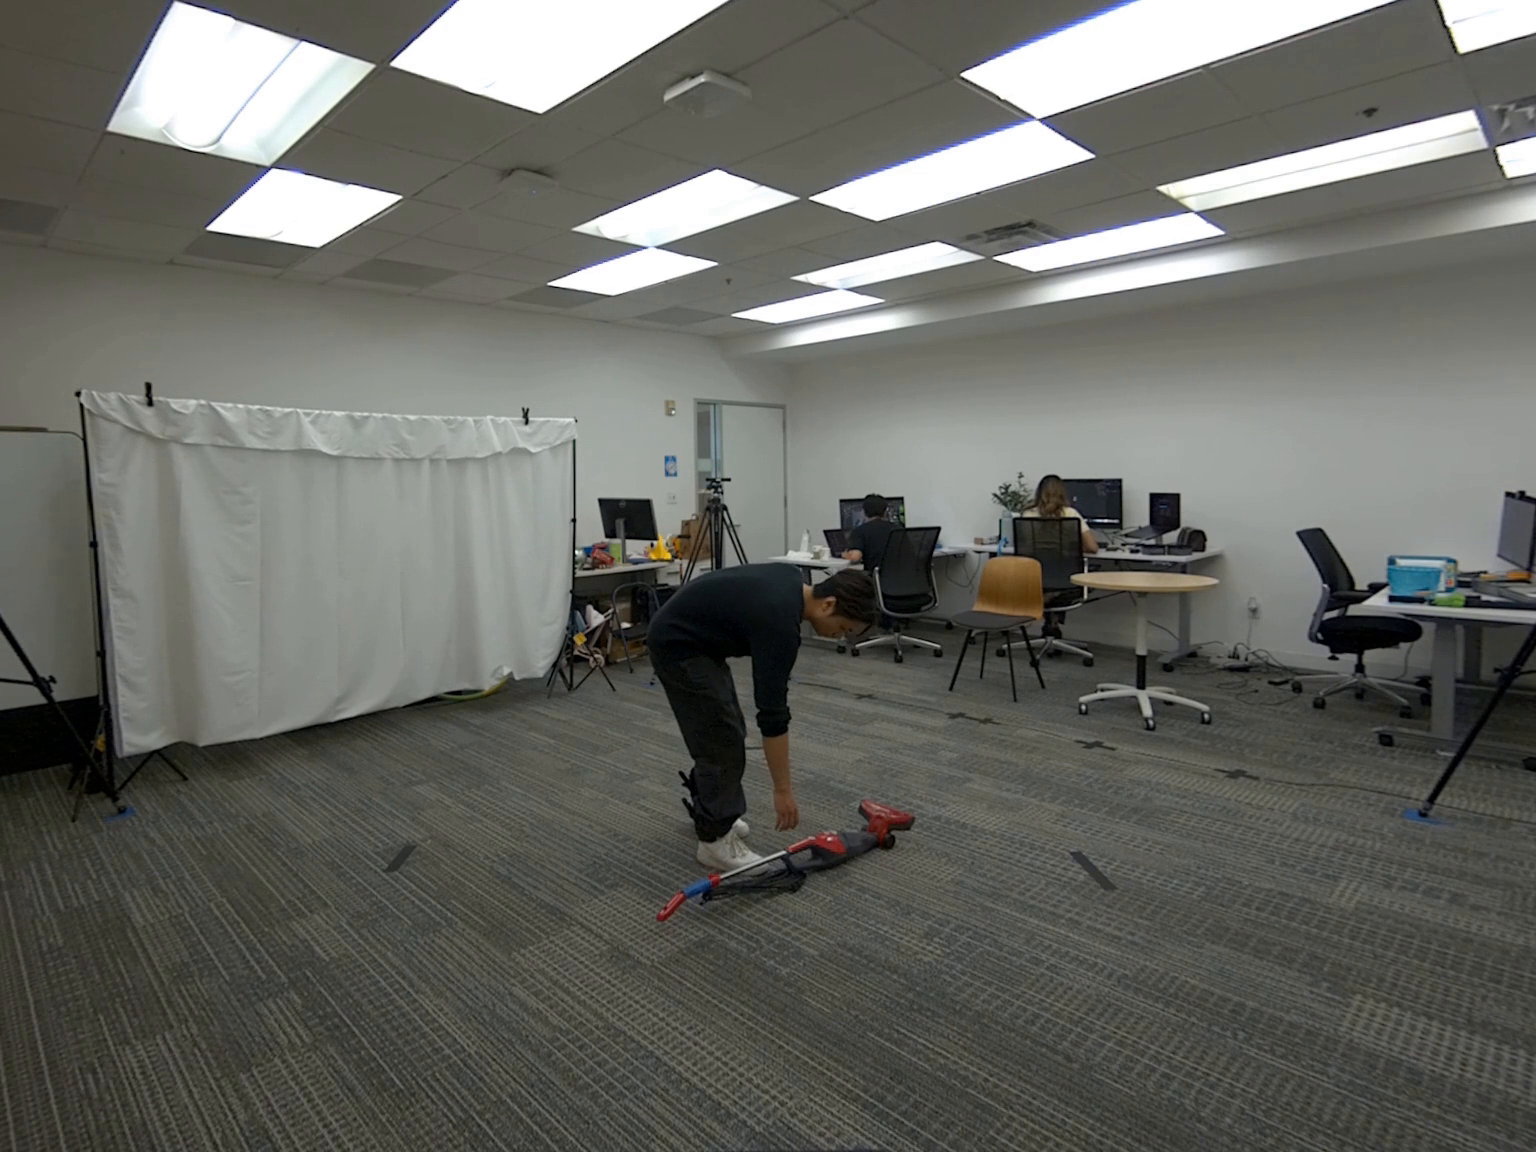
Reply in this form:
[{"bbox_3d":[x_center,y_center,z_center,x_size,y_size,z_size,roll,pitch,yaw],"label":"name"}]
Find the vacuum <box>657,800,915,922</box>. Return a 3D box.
[{"bbox_3d":[0.060,1.000,2.927,1.023,0.143,0.260,-8,6,-40],"label":"vacuum"}]
